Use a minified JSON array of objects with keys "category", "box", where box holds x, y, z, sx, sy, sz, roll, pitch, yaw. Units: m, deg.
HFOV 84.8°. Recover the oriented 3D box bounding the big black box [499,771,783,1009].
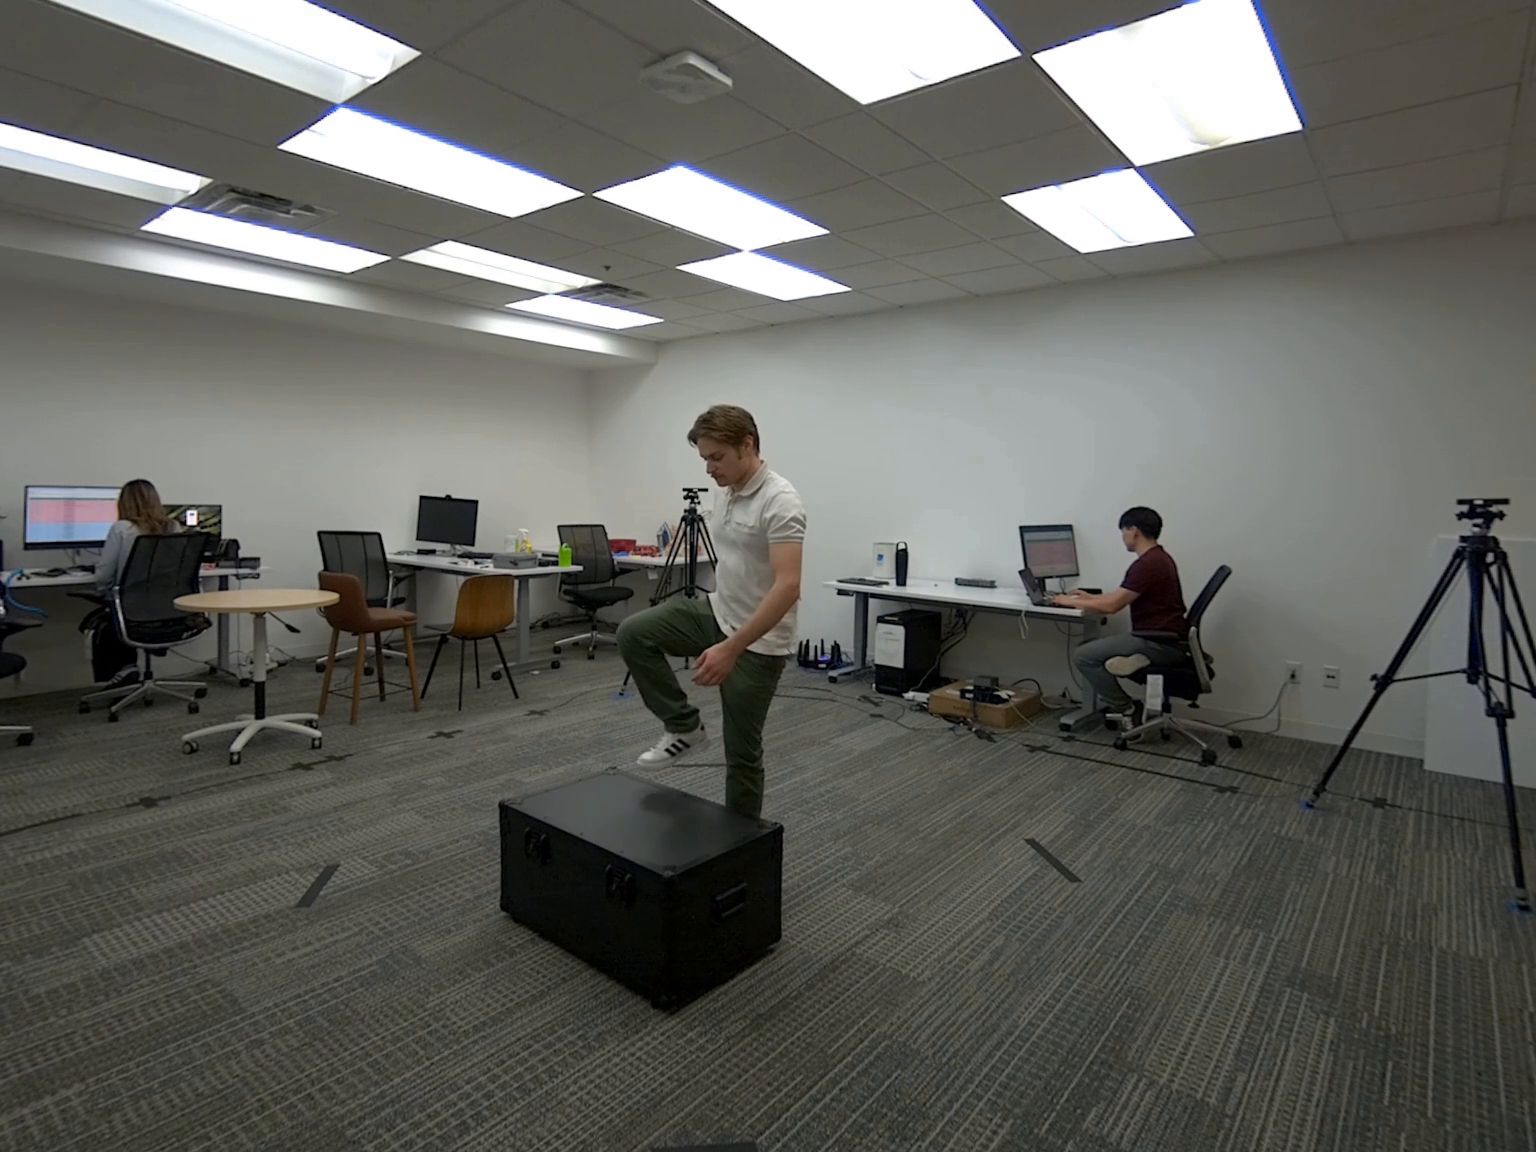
[{"category":"big black box","box":[-0.441,0.915,2.673,0.891,0.394,0.506,7,7,40]}]
